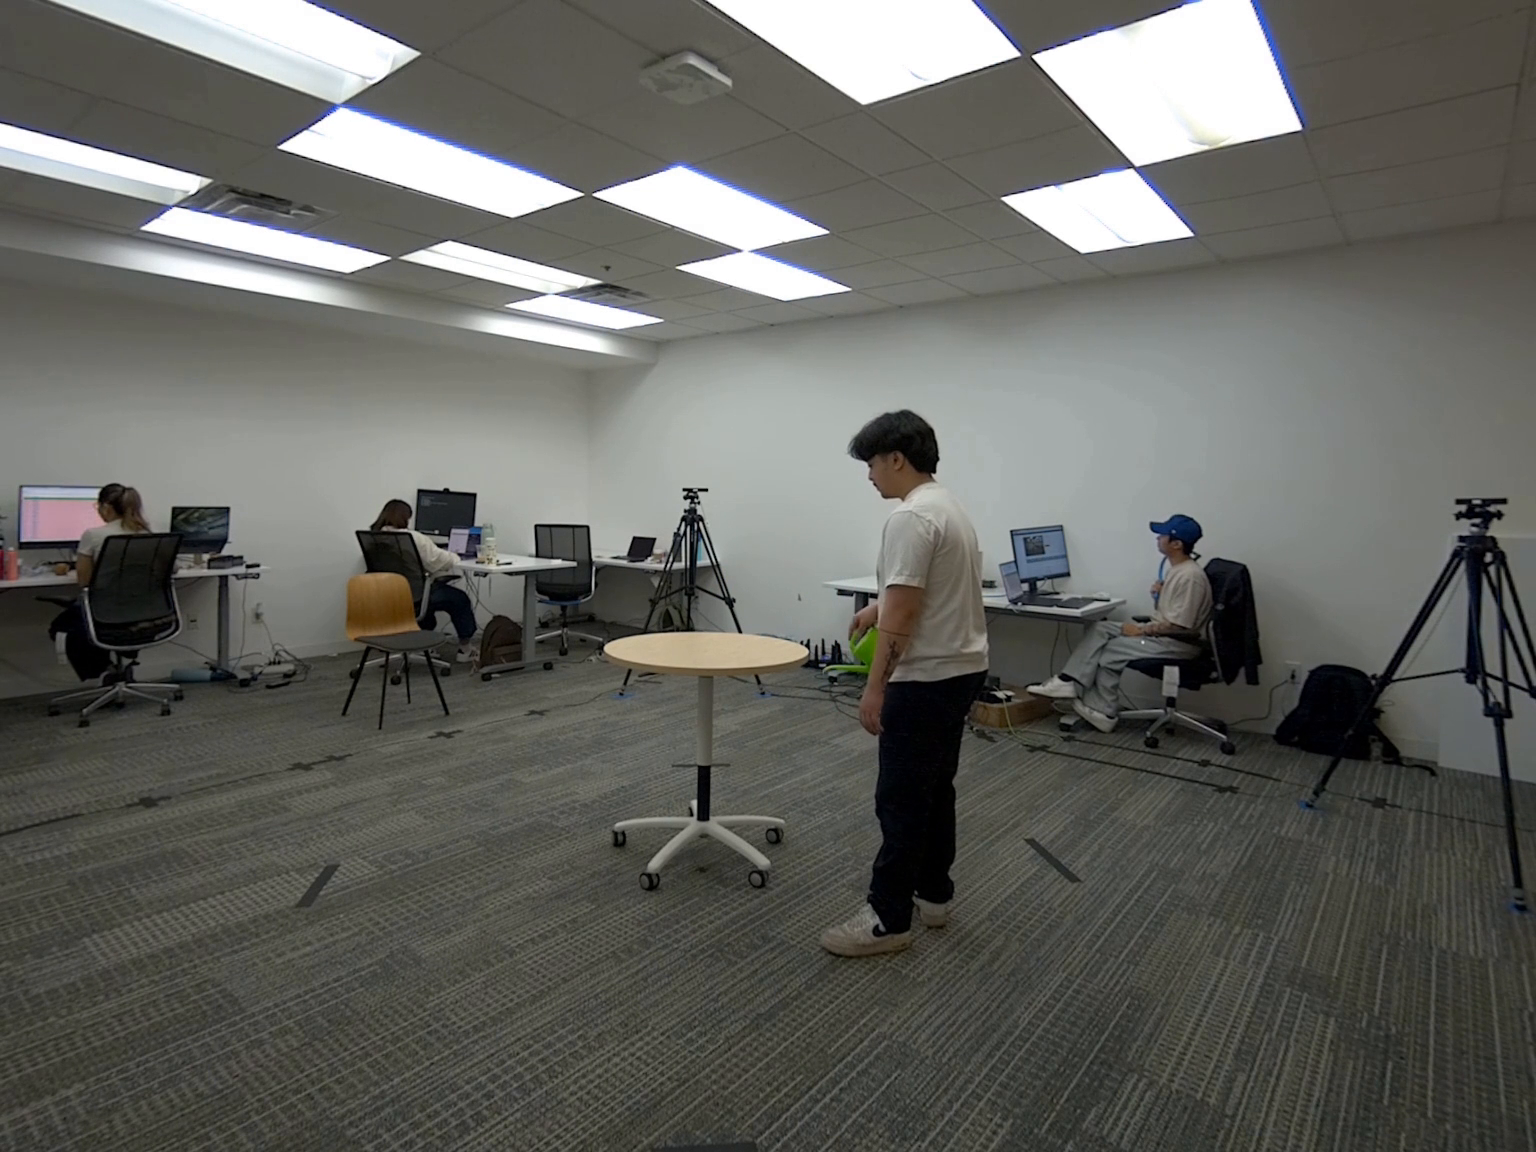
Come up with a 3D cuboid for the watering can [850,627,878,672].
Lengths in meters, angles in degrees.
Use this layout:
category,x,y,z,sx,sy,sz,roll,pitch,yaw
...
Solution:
category,x,y,z,sx,sy,sz,roll,pitch,yaw
watering can,0.338,0.284,3.008,0.178,0.278,0.097,41,16,5
